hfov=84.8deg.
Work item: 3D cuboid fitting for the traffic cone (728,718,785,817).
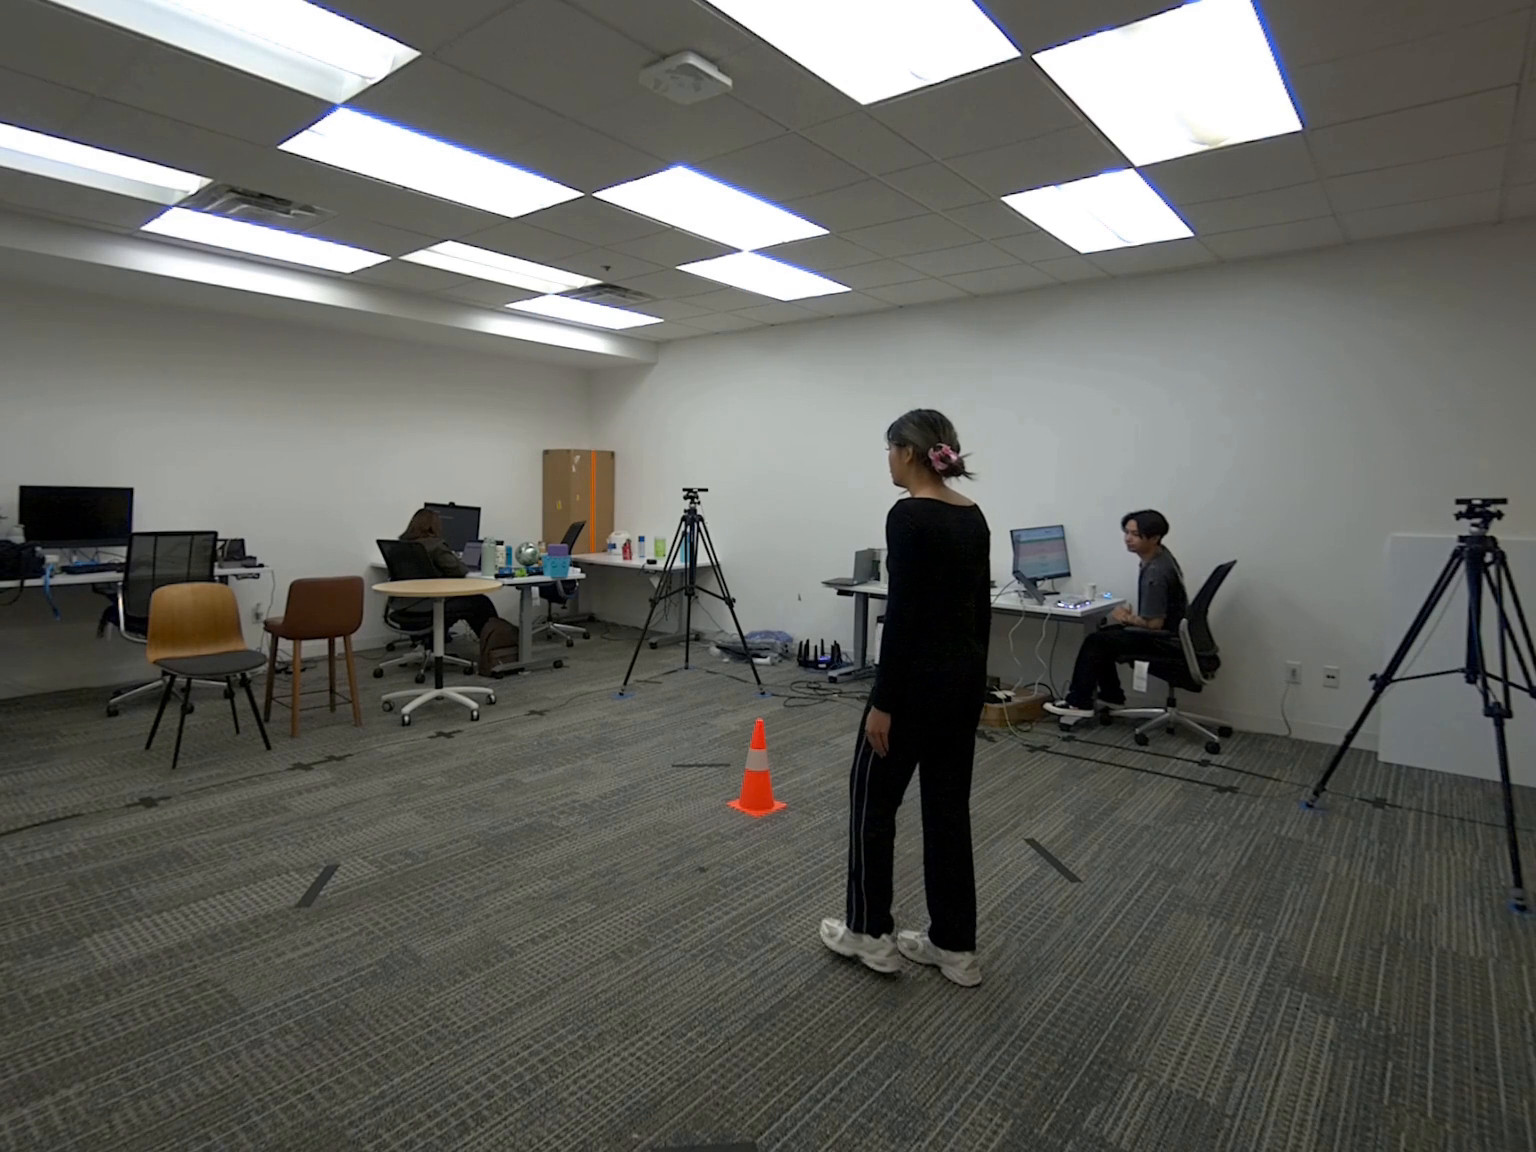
[{"bbox_3d":[-0.053,0.825,3.757,0.197,0.382,0.212,-2,5,-45],"label":"traffic cone"}]
